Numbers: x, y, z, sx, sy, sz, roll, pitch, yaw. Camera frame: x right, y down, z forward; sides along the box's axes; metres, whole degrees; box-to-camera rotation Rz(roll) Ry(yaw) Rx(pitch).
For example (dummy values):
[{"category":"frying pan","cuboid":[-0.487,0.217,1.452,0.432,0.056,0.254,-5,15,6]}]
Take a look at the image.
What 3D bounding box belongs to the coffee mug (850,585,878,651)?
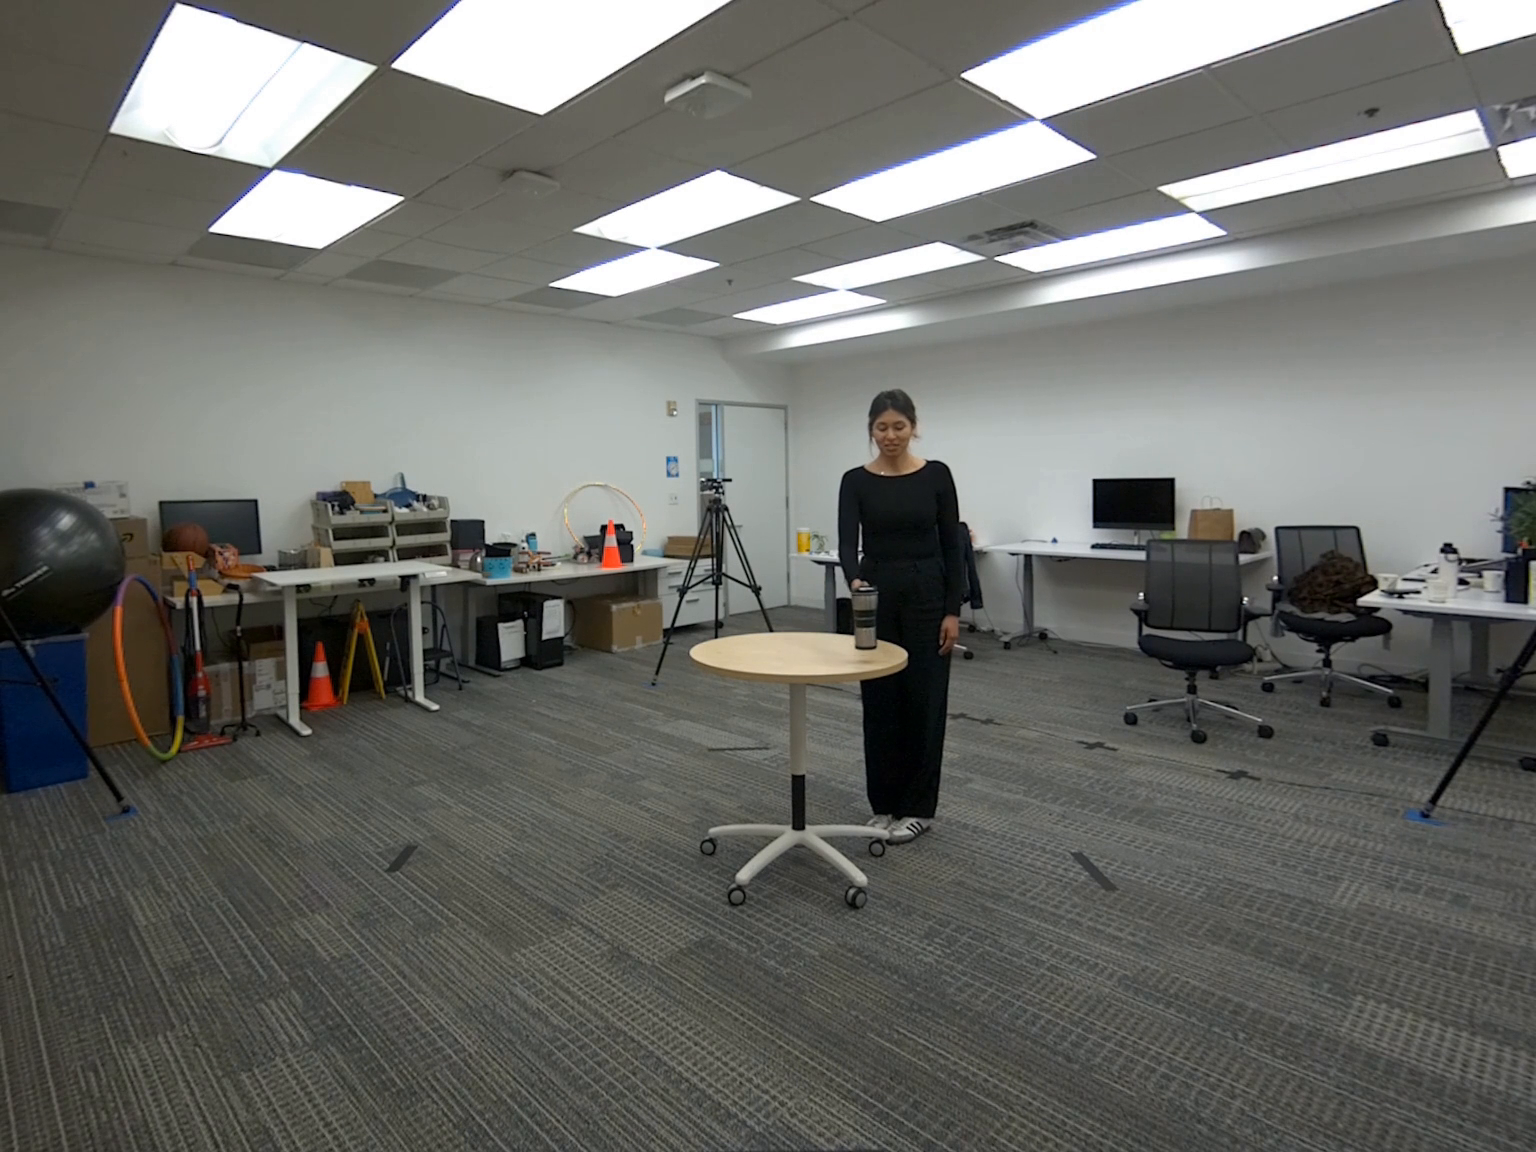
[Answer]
[{"category":"coffee mug","cuboid":[0.340,0.136,2.839,0.119,0.203,0.090,-7,1,-44]}]
